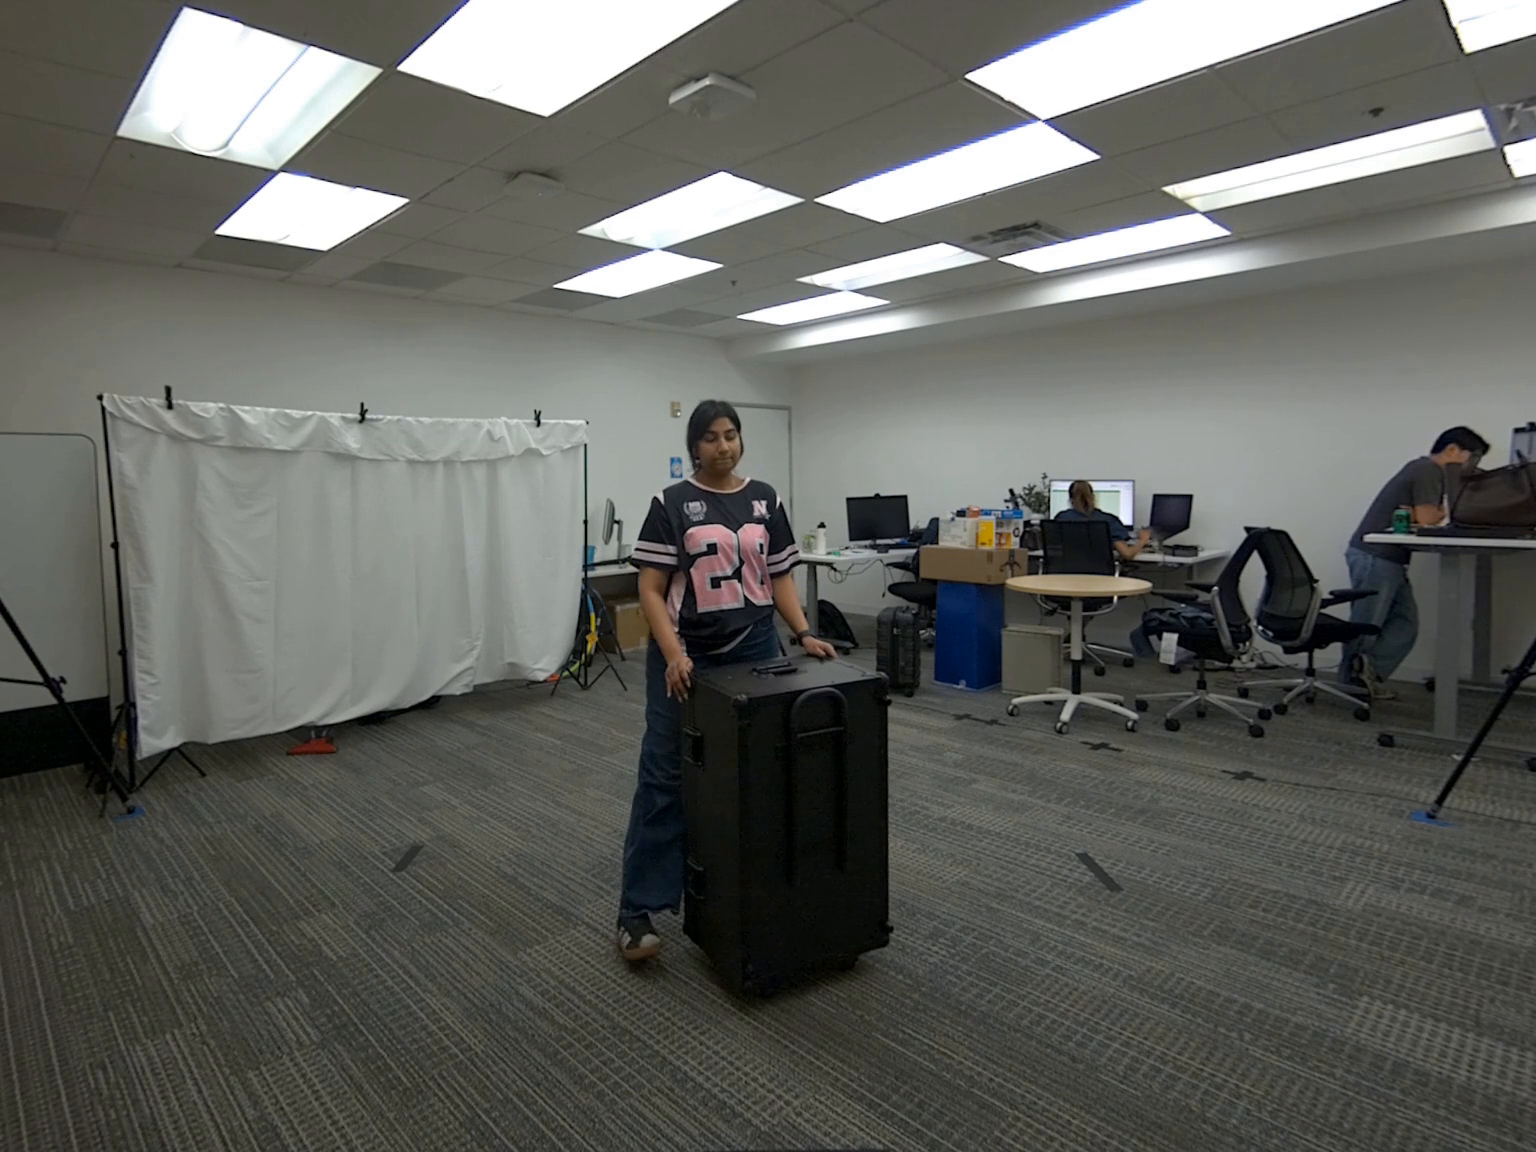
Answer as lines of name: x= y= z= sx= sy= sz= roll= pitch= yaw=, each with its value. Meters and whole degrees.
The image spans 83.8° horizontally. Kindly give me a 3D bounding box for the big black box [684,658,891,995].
big black box: x=0.060 y=0.700 z=2.444 sx=0.511 sy=0.865 sz=0.396 roll=-4 pitch=5 yaw=-29
